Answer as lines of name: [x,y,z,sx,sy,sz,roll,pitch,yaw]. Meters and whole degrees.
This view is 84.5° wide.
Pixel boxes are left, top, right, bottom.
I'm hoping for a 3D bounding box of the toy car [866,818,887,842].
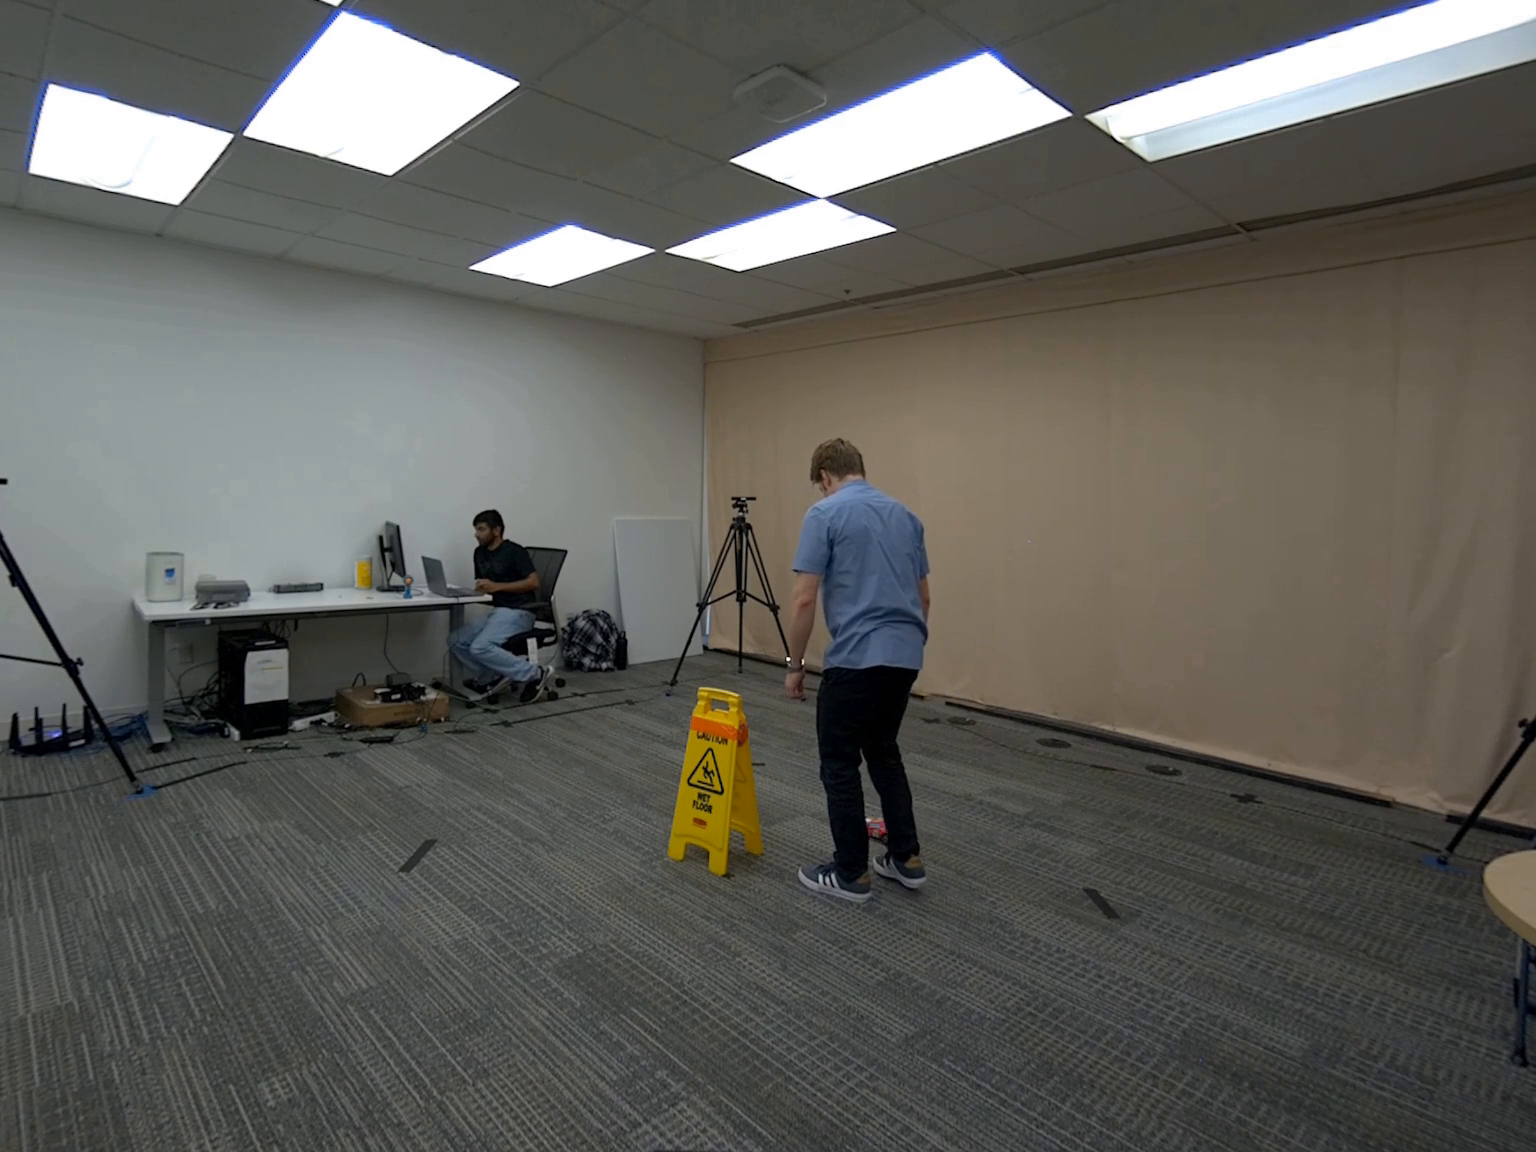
toy car: [0.470,1.060,3.499,0.259,0.083,0.127,-8,-3,40]
